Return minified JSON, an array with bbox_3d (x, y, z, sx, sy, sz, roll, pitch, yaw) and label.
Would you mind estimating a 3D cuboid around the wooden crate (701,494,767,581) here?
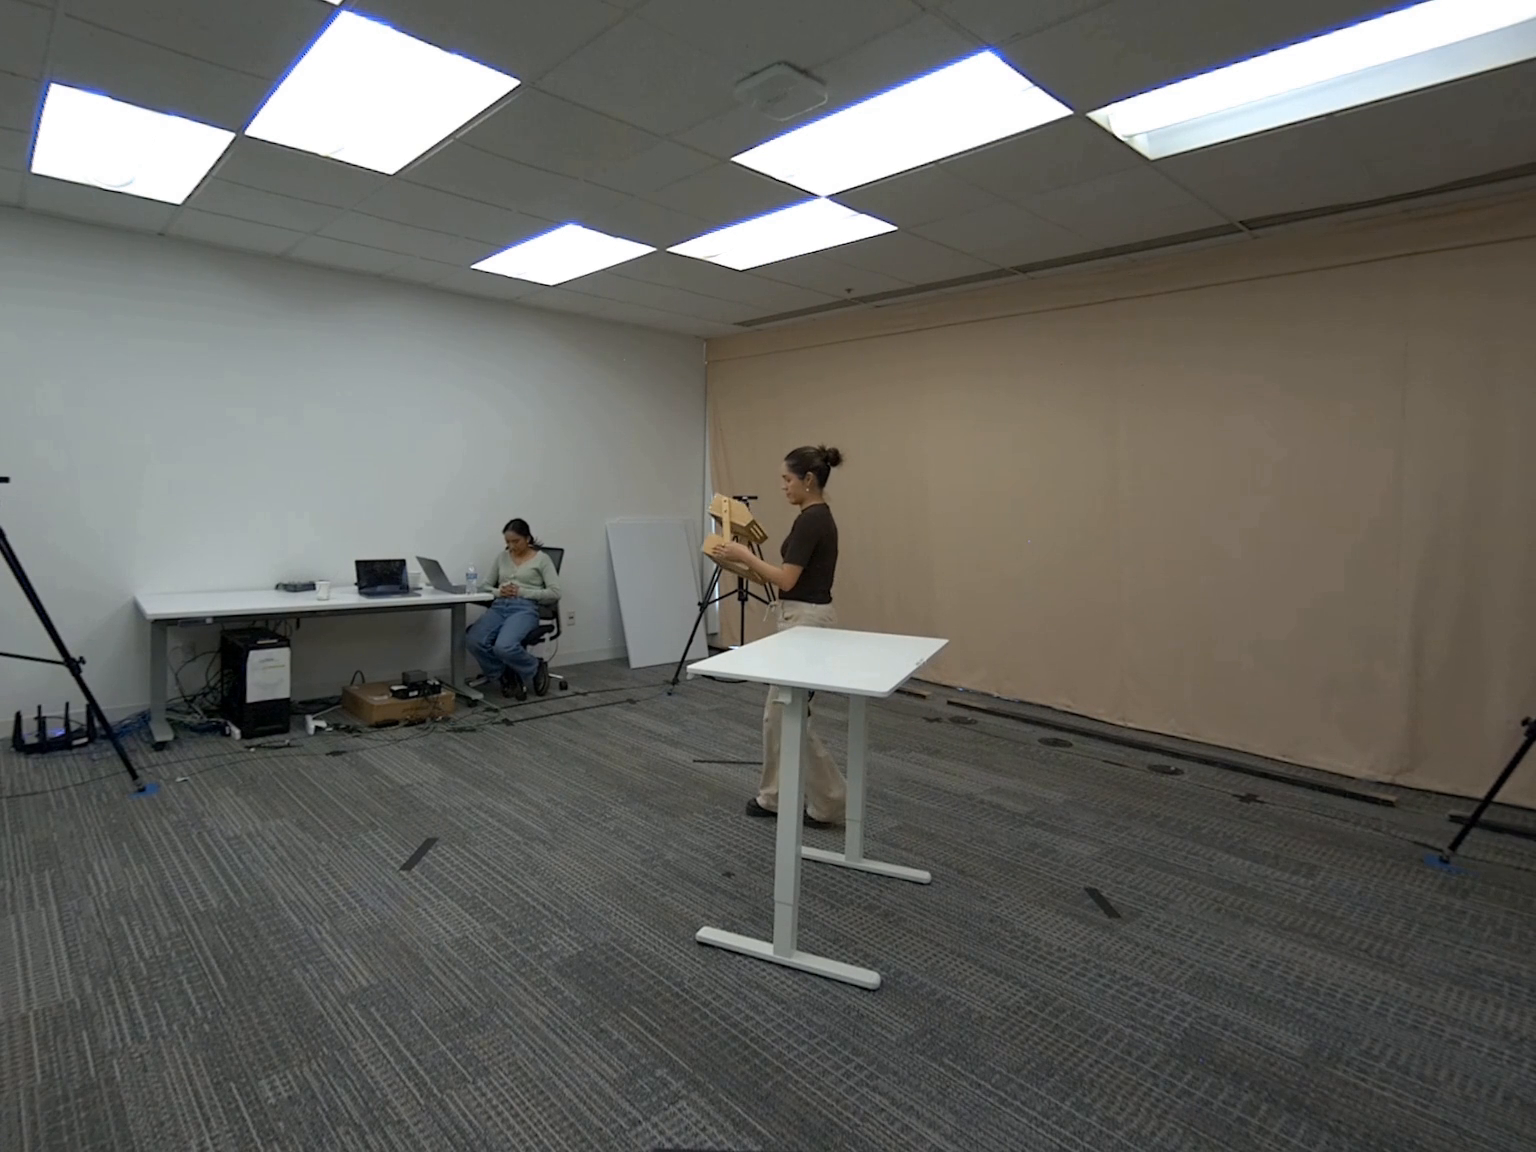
[{"bbox_3d":[-0.120,-0.158,3.721,0.307,0.274,0.318,22,-8,17],"label":"wooden crate"}]
